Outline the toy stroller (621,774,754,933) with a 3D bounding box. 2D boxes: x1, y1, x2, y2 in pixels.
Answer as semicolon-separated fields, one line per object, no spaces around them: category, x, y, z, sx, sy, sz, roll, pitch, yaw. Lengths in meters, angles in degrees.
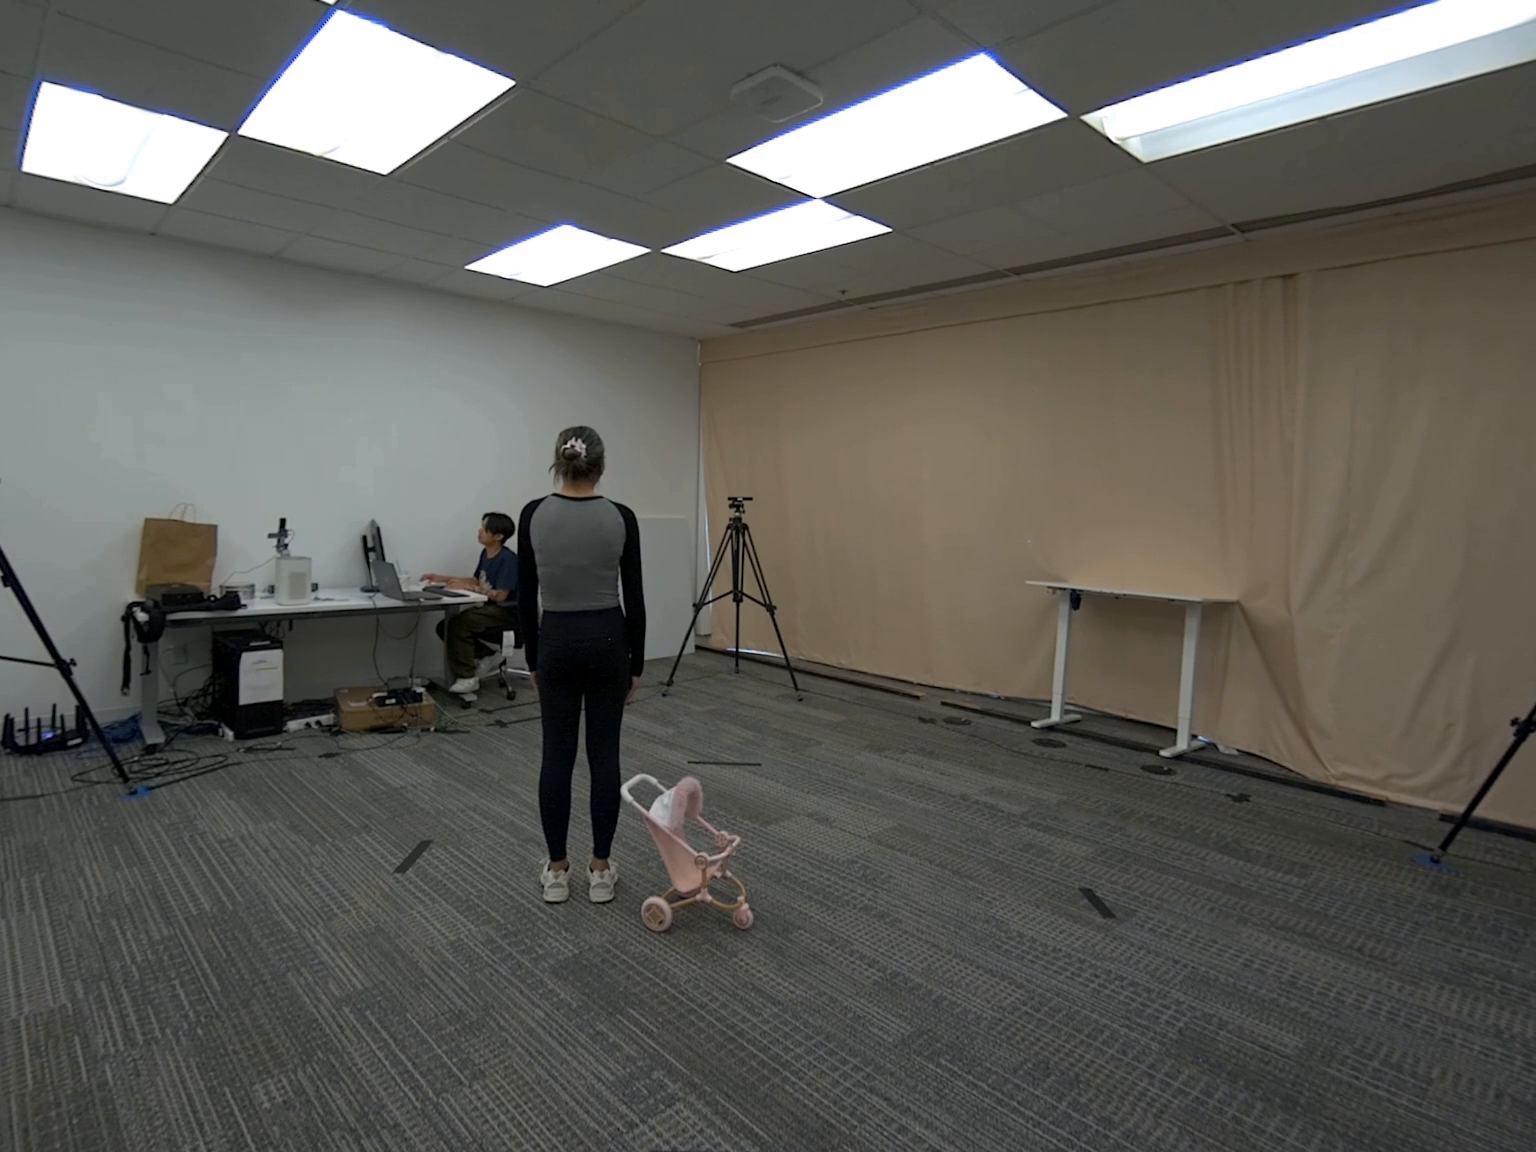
toy stroller;-0.261;0.910;2.779;0.345;0.537;0.277;-15;-4;24
